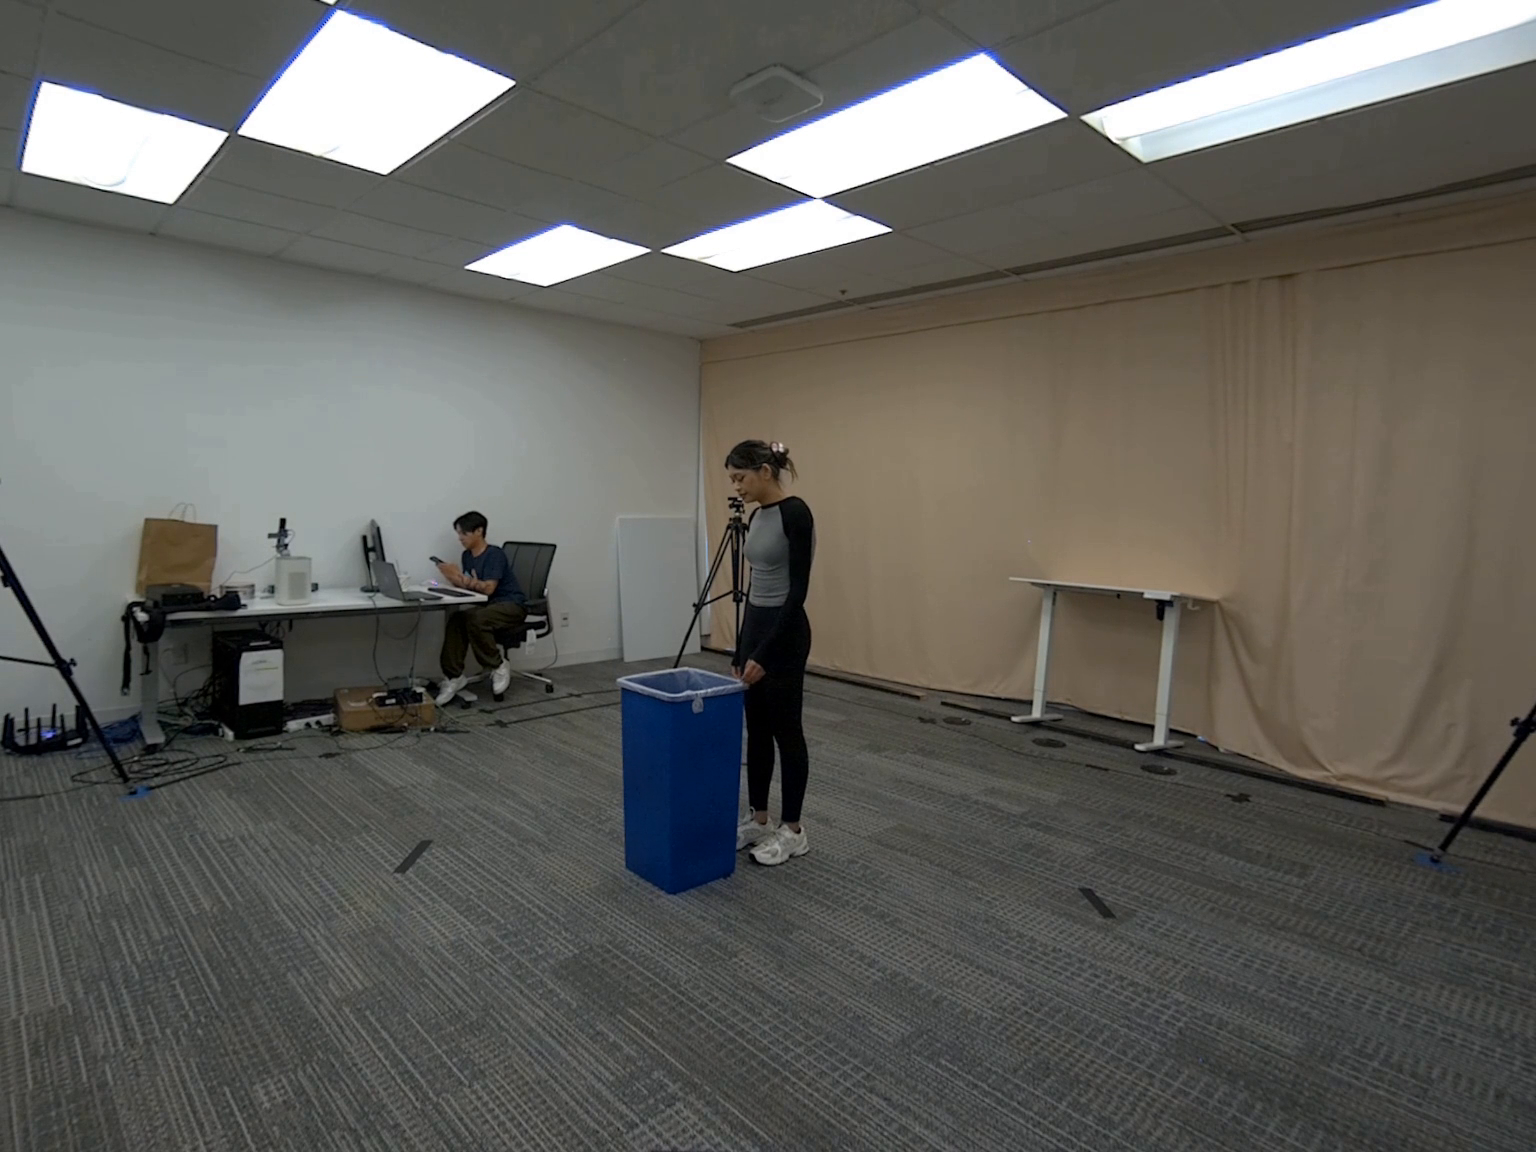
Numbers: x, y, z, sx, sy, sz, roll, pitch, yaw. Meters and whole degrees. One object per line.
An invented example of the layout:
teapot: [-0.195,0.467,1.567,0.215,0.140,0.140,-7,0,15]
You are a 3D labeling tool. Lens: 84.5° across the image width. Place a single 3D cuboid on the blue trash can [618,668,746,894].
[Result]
blue trash can: [-0.338,0.744,3.132,0.369,0.712,0.384,-1,4,-43]
